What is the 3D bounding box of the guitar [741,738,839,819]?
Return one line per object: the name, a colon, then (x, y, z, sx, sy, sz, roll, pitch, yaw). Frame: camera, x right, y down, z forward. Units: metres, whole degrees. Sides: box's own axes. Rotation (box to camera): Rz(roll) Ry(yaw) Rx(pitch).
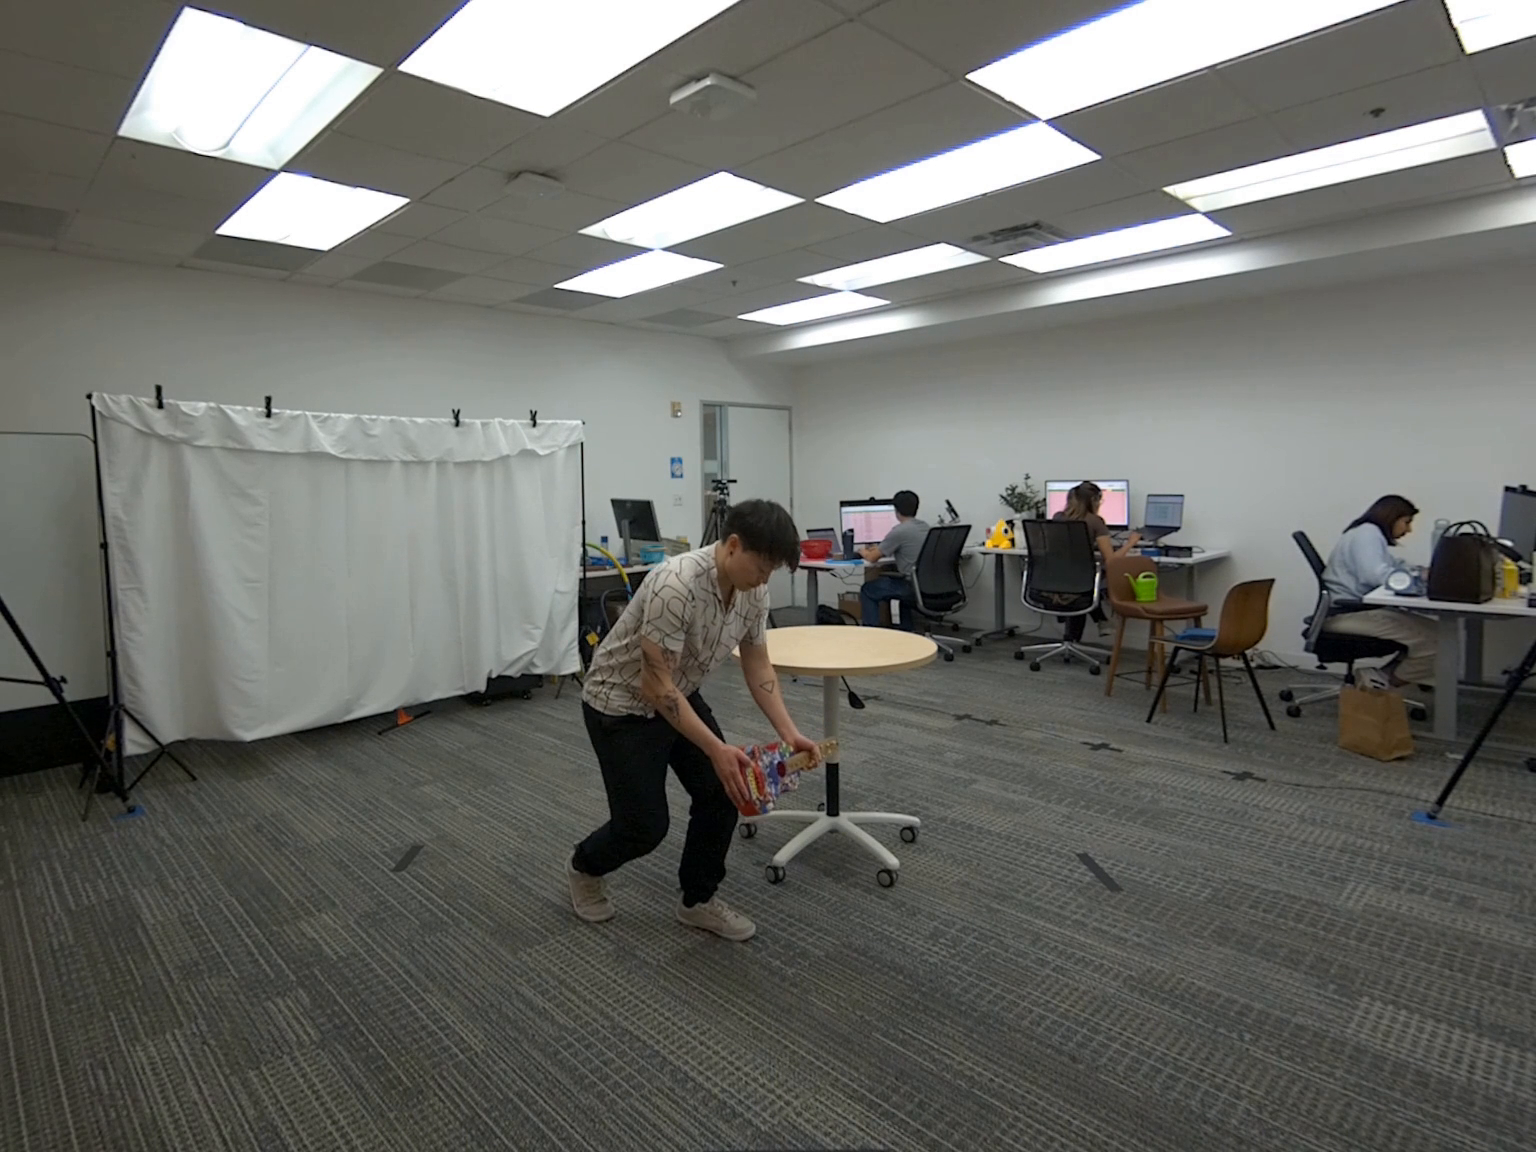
guitar: (0.062, 0.594, 2.538, 0.072, 0.196, 0.482, -24, -20, 36)
